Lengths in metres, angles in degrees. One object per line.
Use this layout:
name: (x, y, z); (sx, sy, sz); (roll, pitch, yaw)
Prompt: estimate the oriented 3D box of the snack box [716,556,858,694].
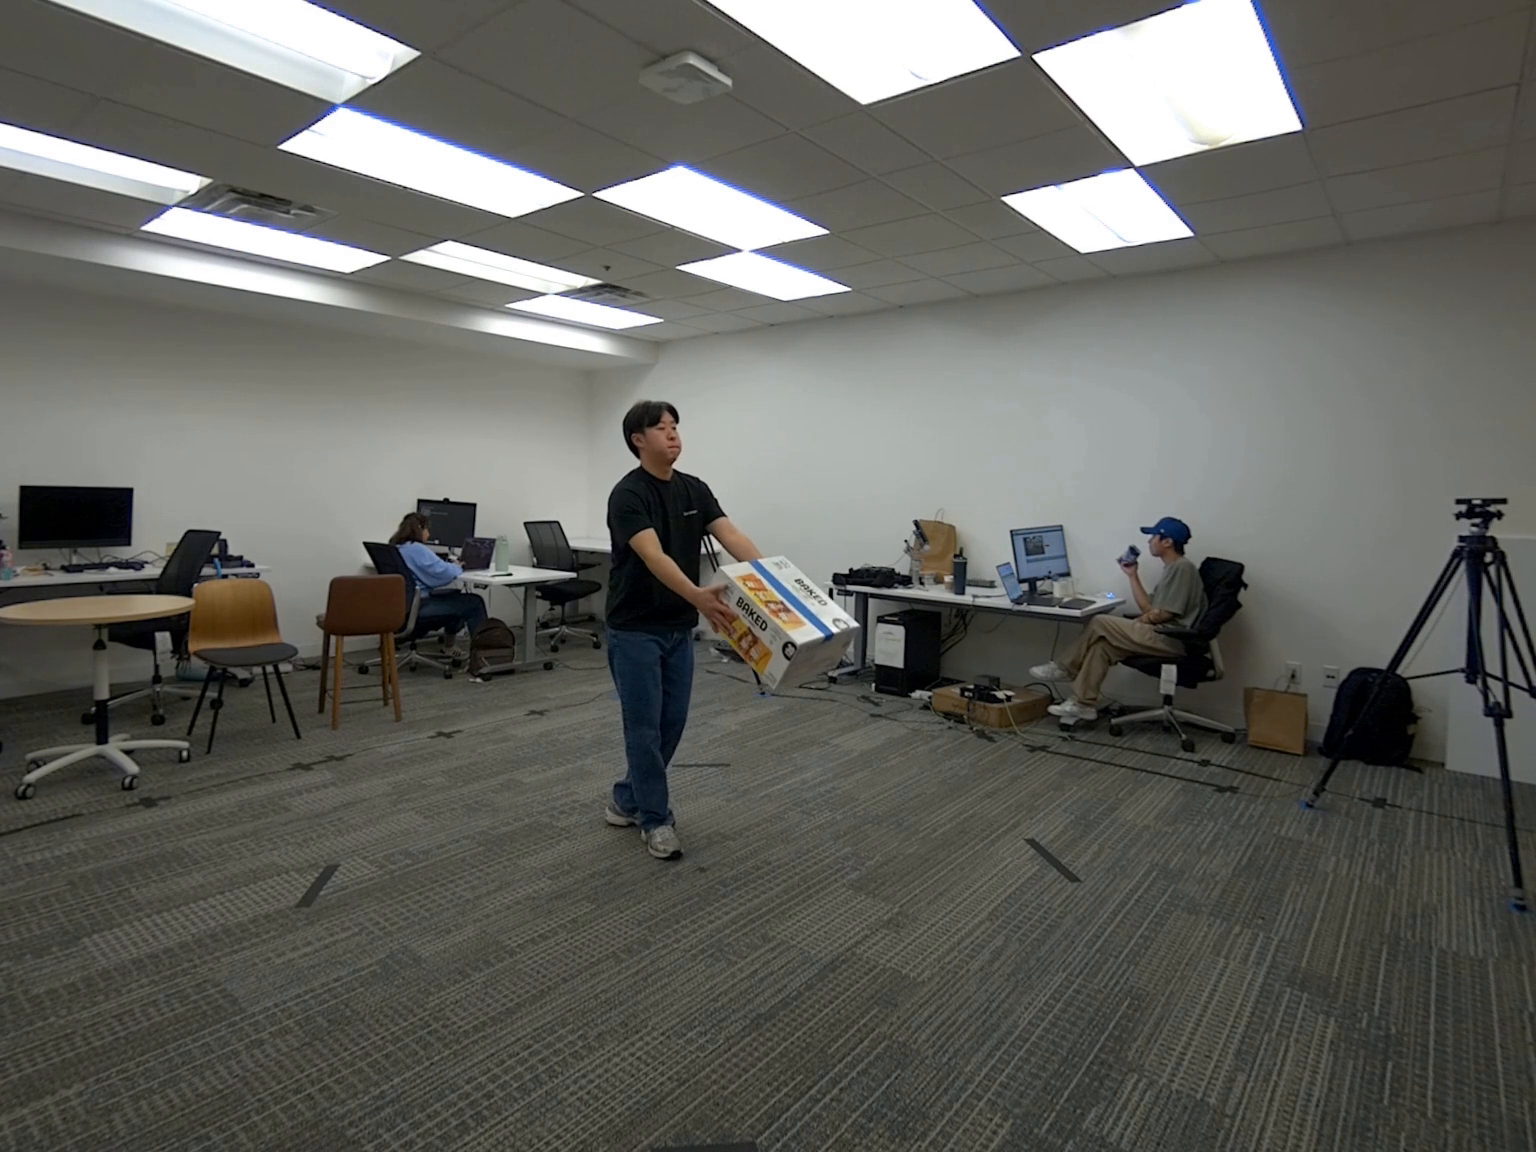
snack box: (0.024, 0.148, 2.927); (0.331, 0.203, 0.420); (-11, 45, -47)
